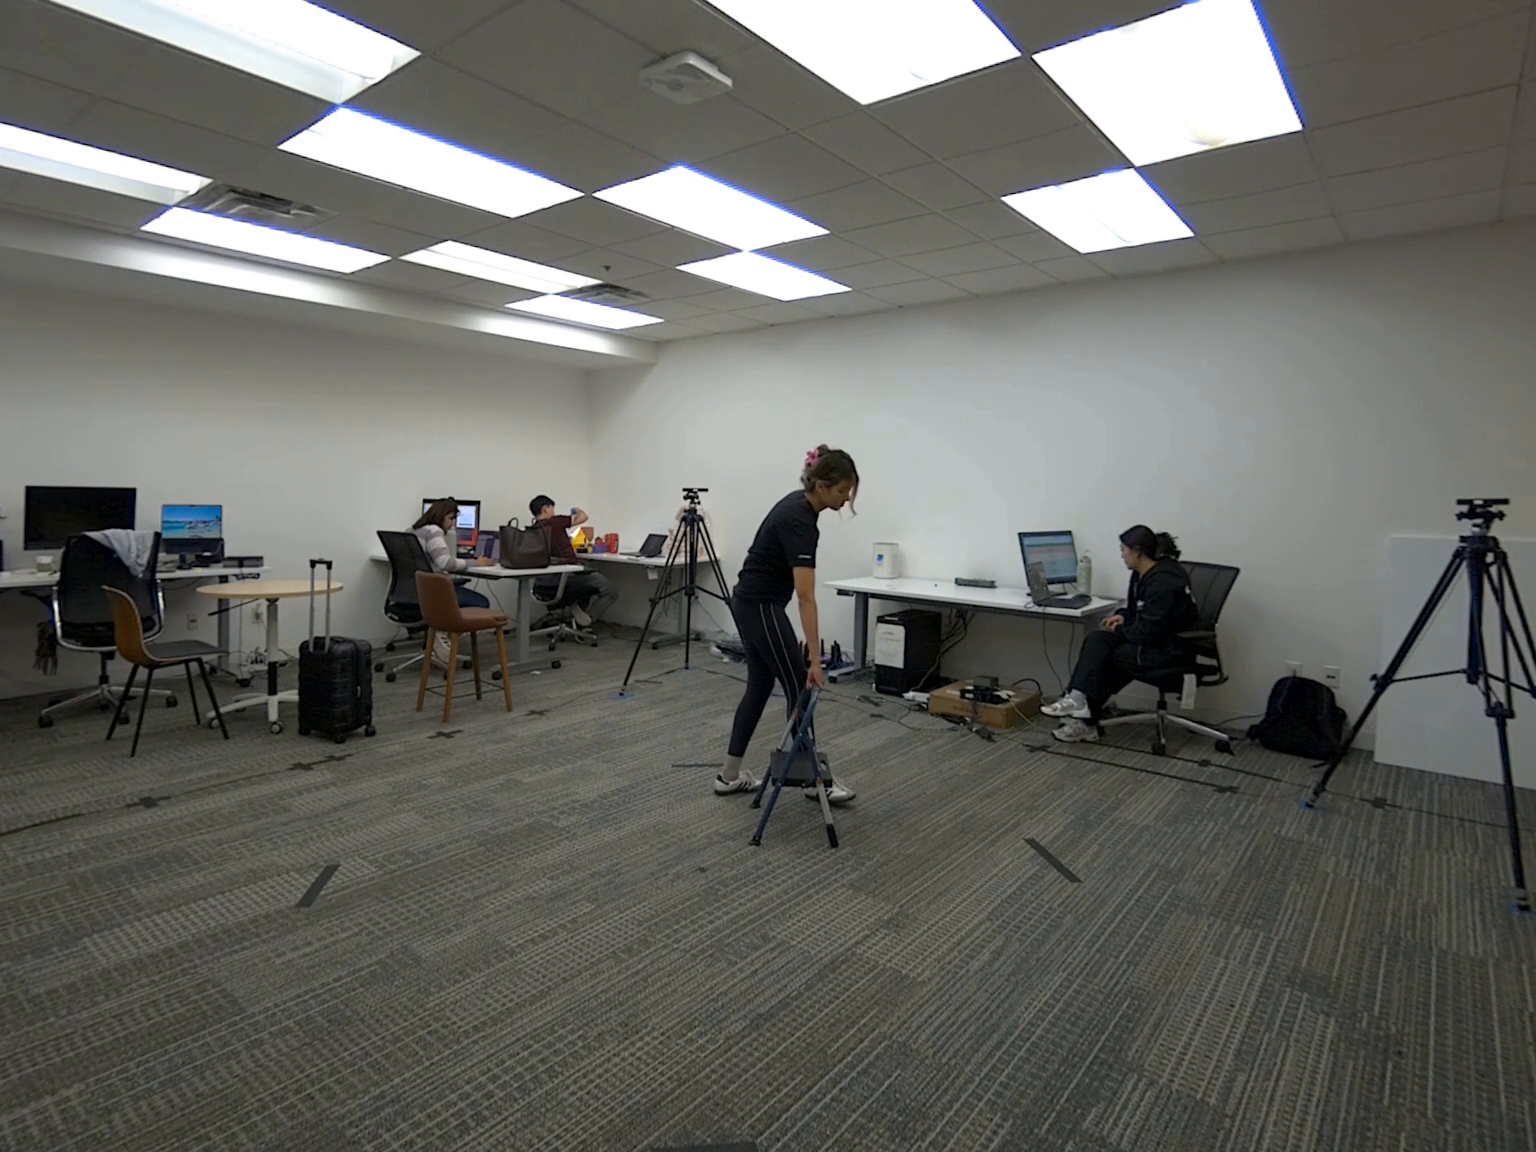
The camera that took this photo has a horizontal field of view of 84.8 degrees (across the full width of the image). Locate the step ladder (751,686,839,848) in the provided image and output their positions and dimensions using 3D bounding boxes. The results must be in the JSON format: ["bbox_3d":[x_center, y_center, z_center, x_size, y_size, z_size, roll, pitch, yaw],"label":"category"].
[{"bbox_3d":[0.100,0.743,3.518,0.350,0.604,0.431,0,3,0],"label":"step ladder"}]
